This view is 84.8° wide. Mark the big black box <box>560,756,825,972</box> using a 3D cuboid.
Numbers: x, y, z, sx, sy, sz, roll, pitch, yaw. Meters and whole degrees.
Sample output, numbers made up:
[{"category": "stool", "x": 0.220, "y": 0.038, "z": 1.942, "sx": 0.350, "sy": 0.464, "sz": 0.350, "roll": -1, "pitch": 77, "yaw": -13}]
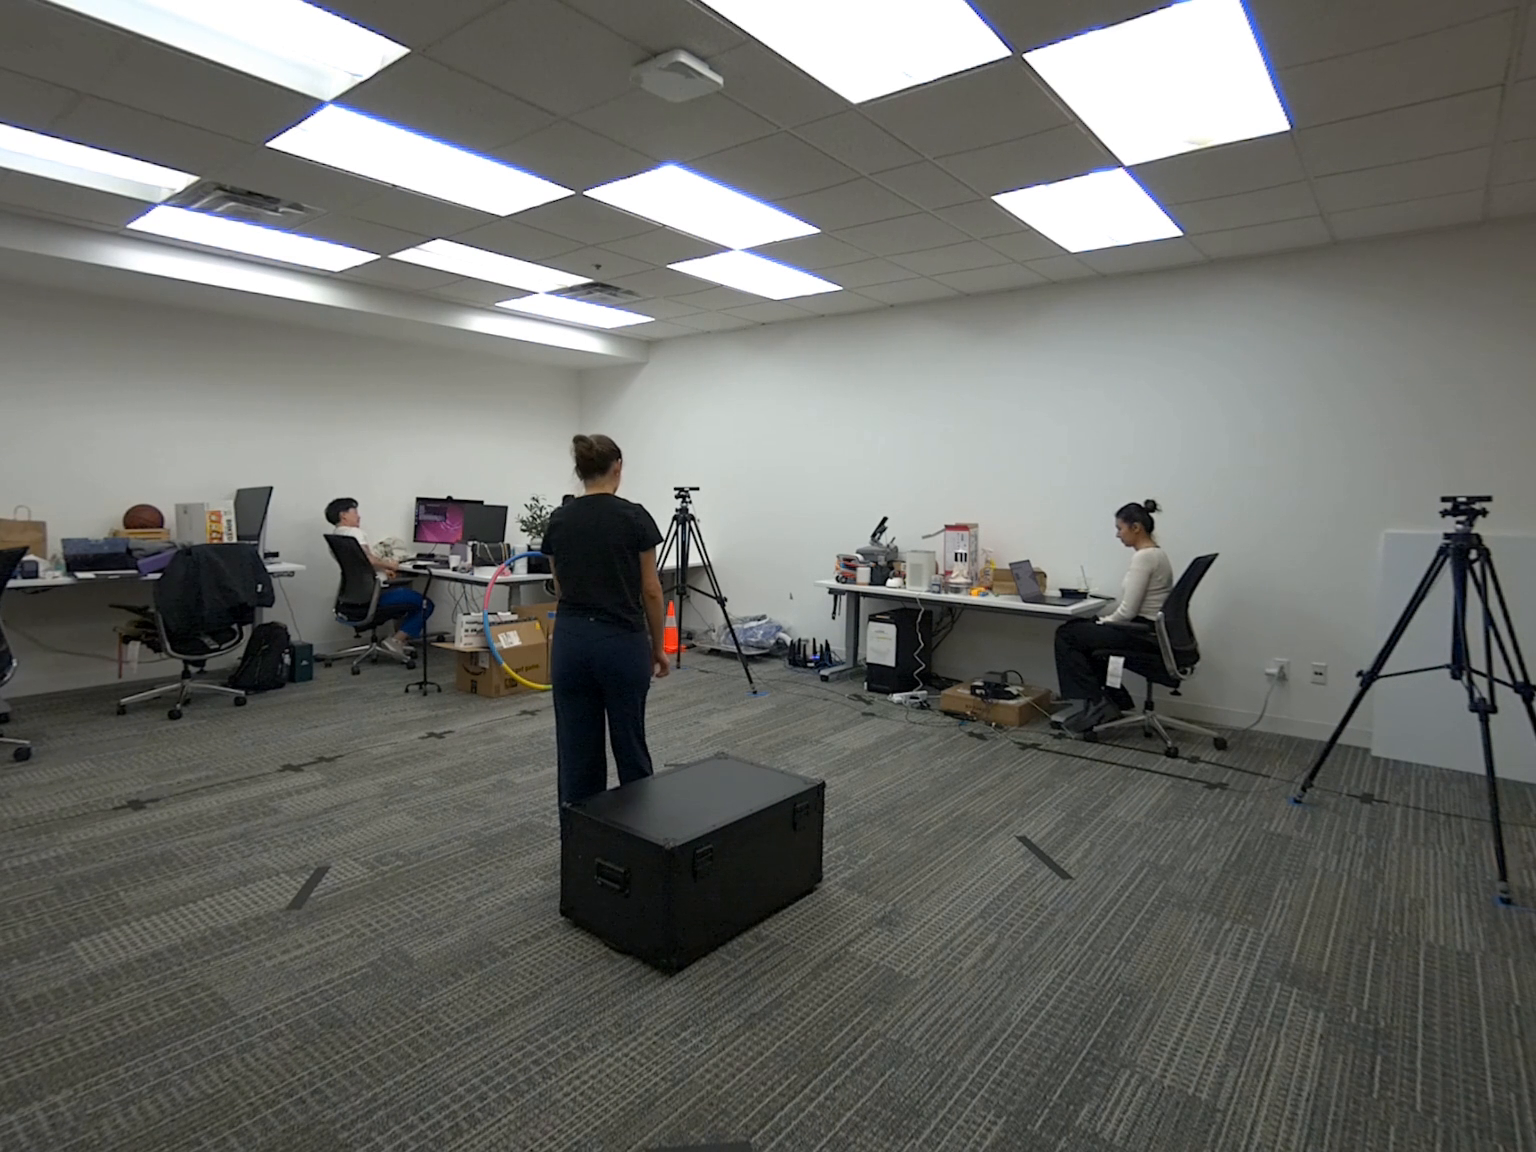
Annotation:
[{"category": "big black box", "x": -0.195, "y": 0.899, "z": 2.863, "sx": 0.539, "sy": 0.395, "sz": 0.837, "roll": 4, "pitch": 7, "yaw": 39}]
